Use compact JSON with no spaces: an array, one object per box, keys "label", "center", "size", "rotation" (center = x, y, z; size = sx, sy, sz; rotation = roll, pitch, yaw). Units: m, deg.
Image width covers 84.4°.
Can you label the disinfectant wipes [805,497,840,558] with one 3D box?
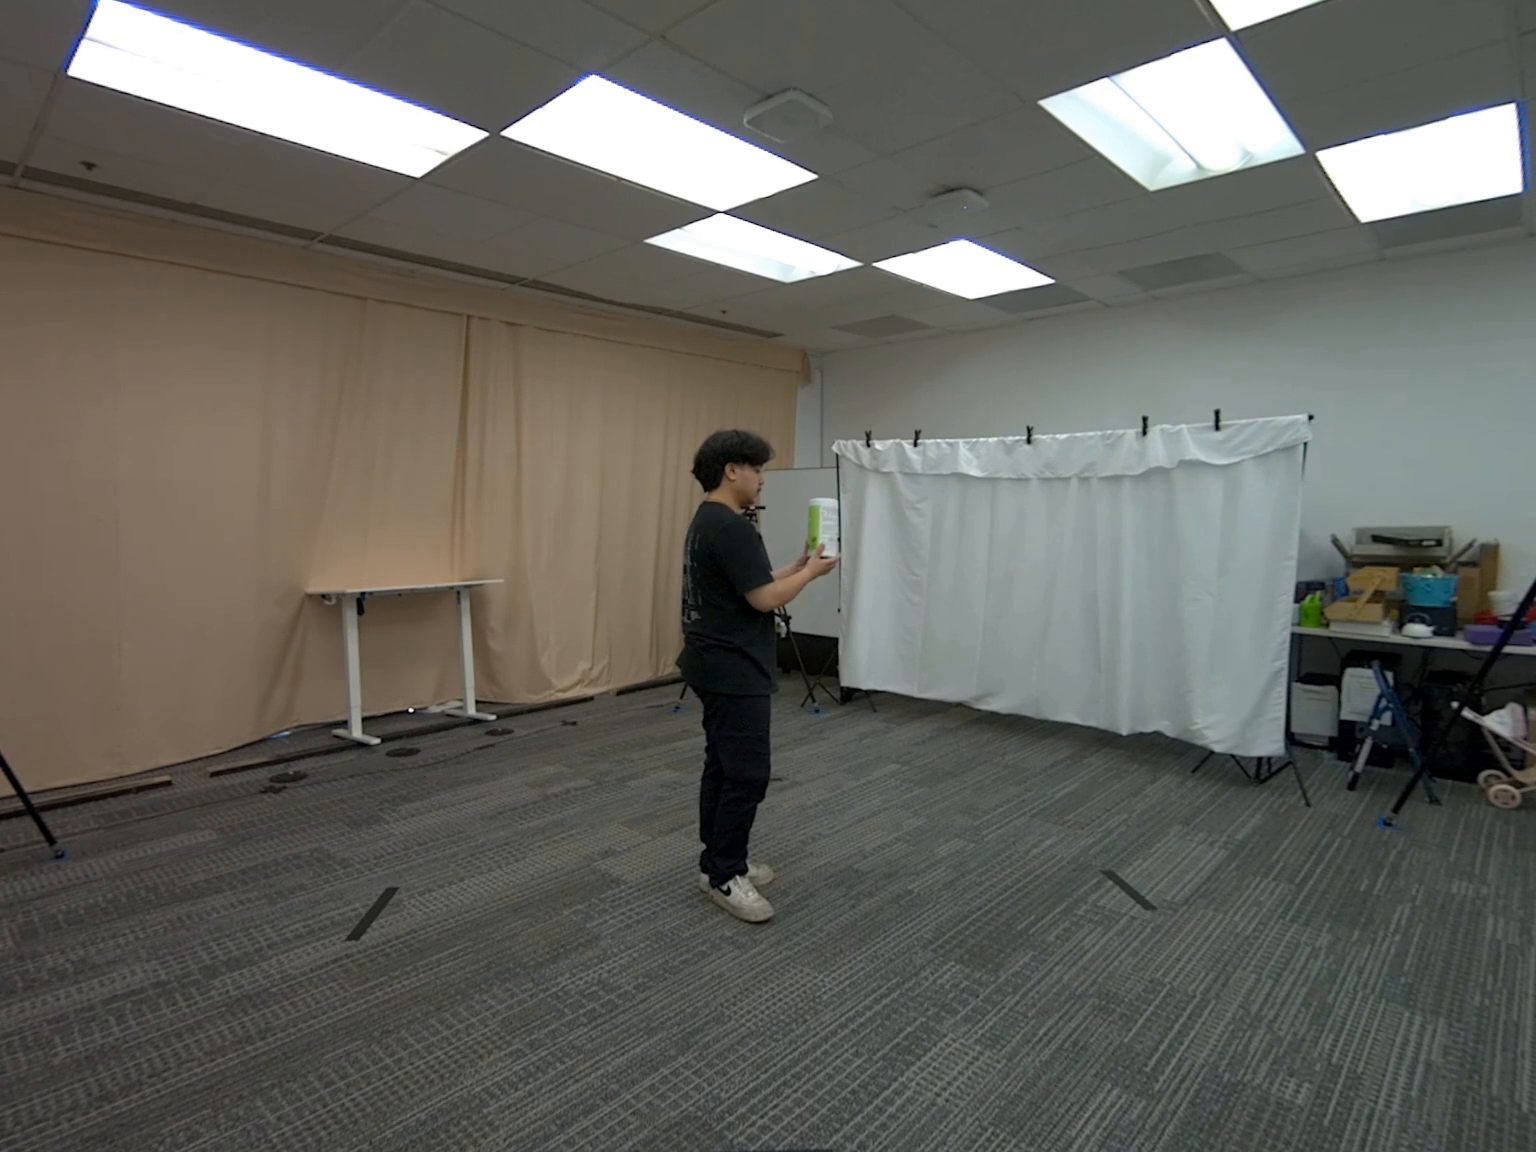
[{"label":"disinfectant wipes","center":[0.207,-0.170,3.092],"size":[0.118,0.218,0.117],"rotation":[2,-4,-2]}]
